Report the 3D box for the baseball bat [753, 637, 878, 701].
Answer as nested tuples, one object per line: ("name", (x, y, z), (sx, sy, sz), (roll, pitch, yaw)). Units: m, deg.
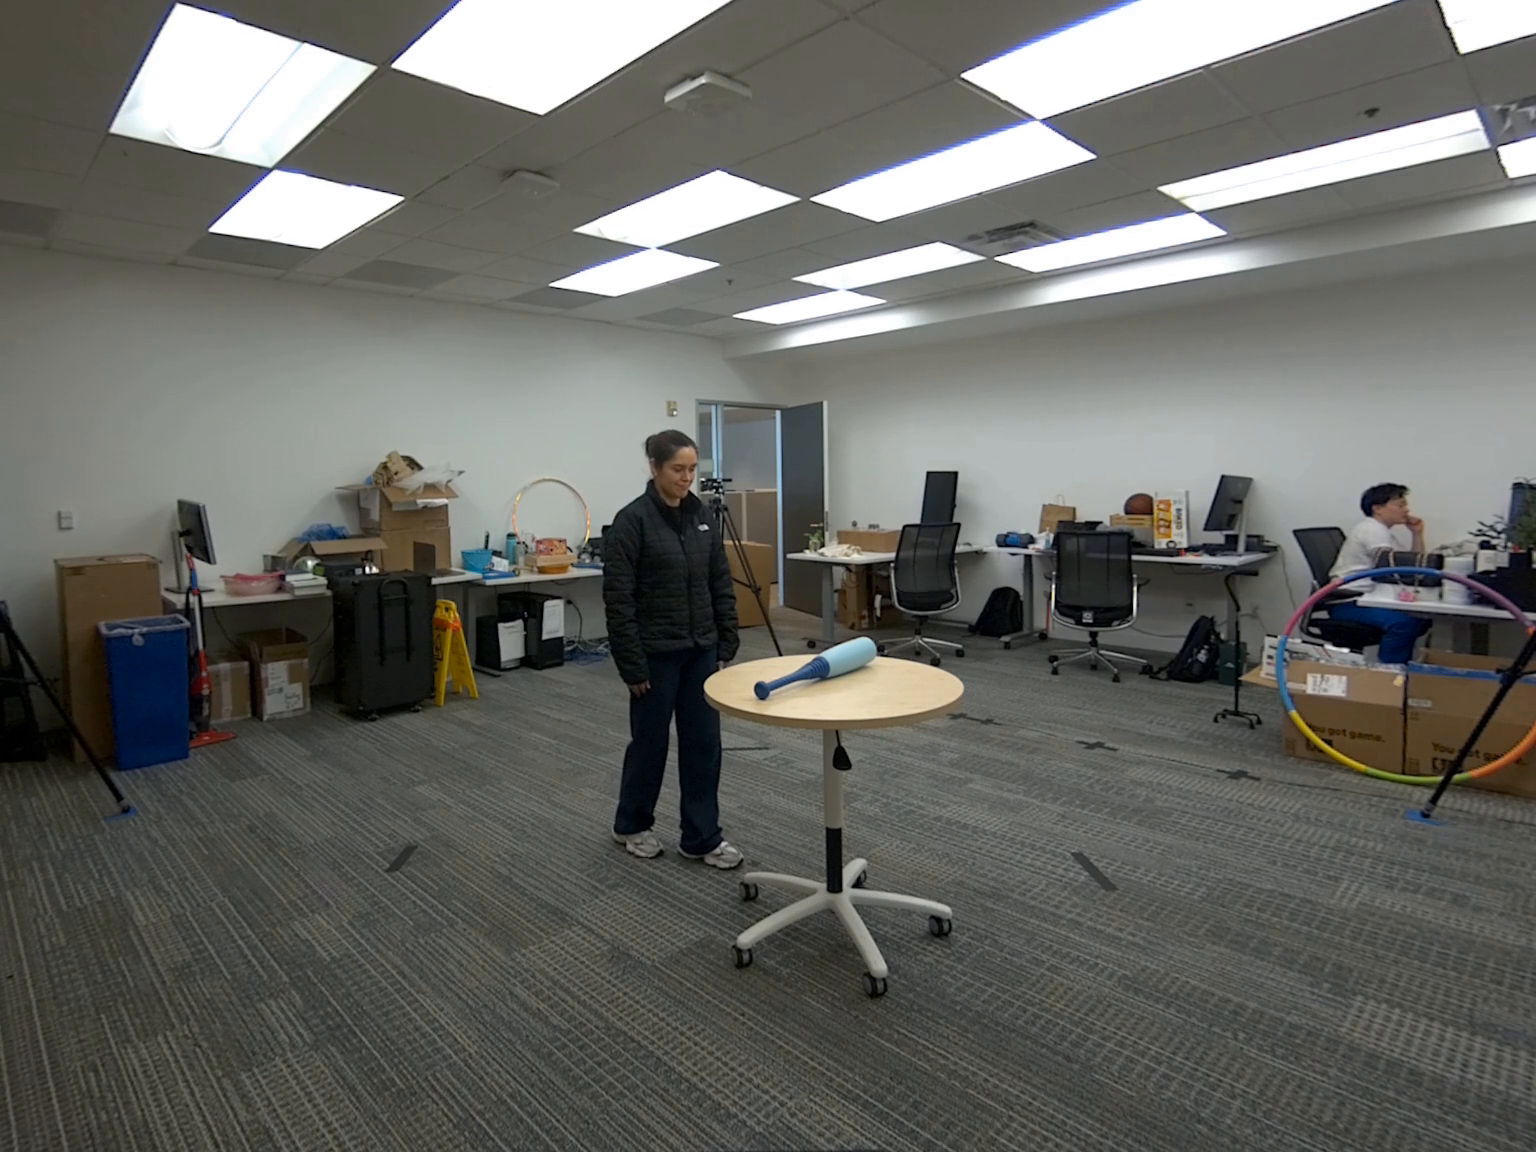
("baseball bat", (0.151, 0.280, 2.591), (0.092, 0.088, 0.531), (3, 12, 40))
